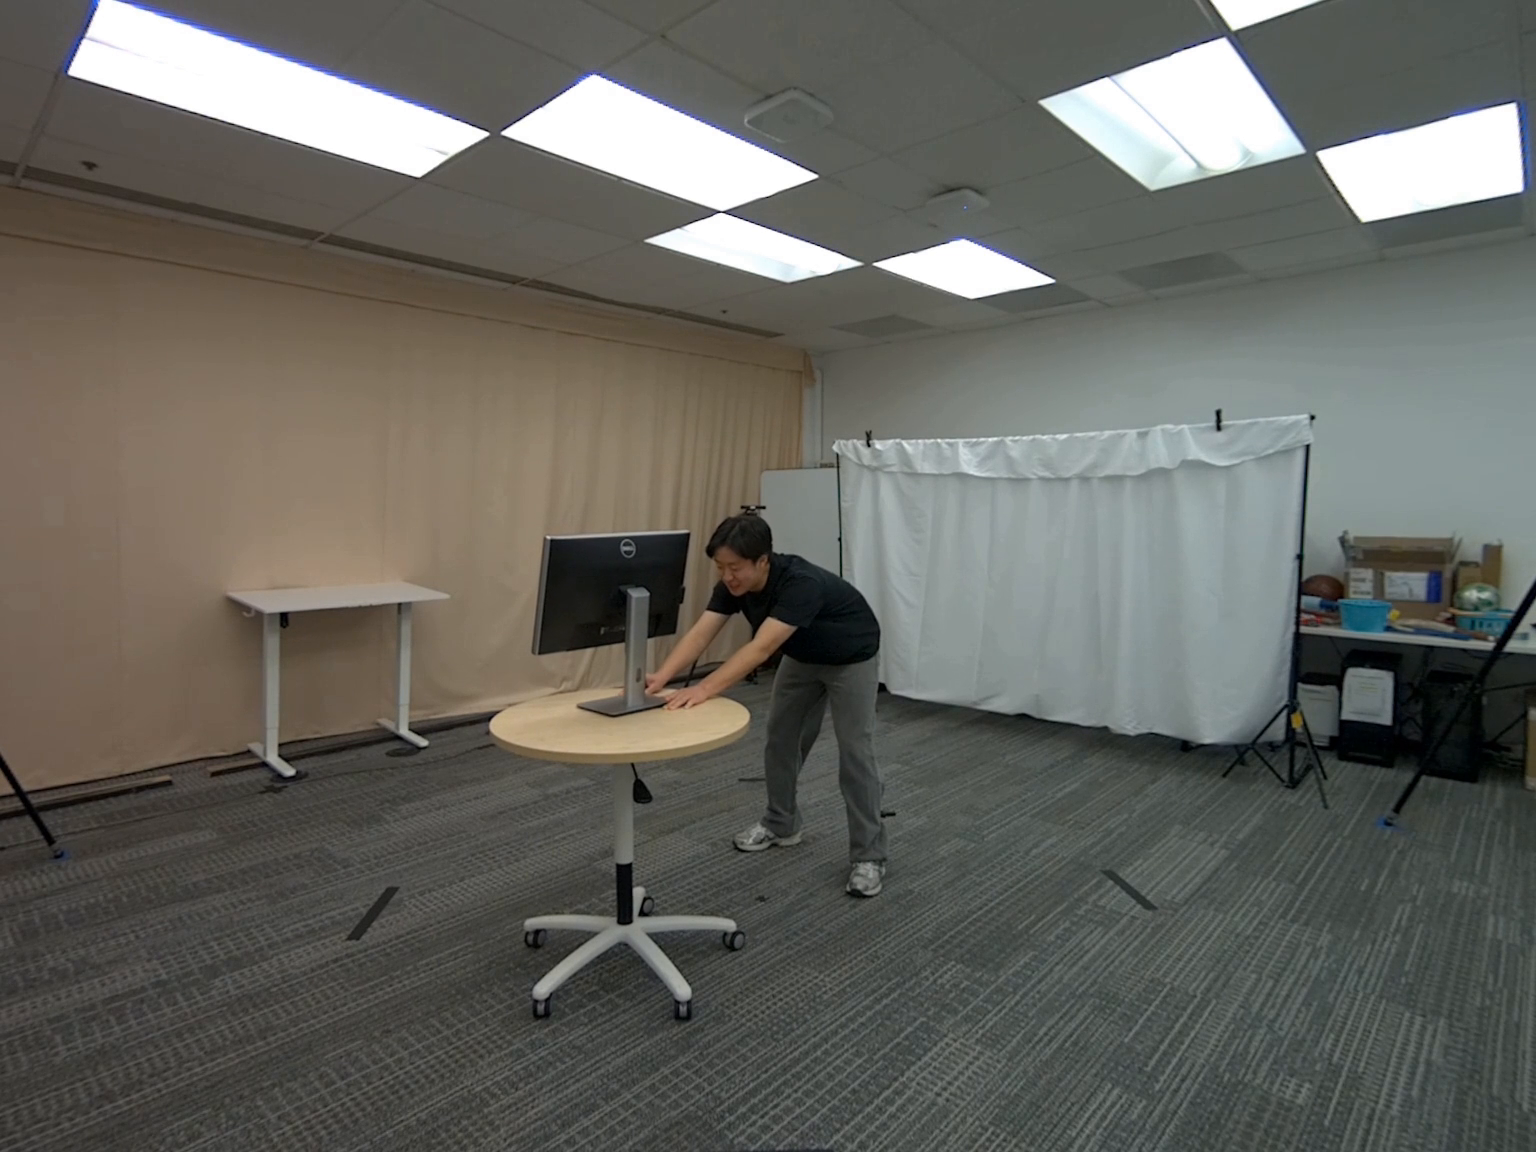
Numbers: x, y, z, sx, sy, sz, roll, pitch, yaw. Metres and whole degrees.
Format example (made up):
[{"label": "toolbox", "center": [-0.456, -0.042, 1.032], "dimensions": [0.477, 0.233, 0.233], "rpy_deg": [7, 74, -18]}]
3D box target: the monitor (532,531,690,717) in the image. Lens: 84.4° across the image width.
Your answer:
[{"label": "monitor", "center": [-0.433, 0.142, 2.601], "dimensions": [0.217, 0.552, 0.548], "rpy_deg": [10, 10, 40]}]
